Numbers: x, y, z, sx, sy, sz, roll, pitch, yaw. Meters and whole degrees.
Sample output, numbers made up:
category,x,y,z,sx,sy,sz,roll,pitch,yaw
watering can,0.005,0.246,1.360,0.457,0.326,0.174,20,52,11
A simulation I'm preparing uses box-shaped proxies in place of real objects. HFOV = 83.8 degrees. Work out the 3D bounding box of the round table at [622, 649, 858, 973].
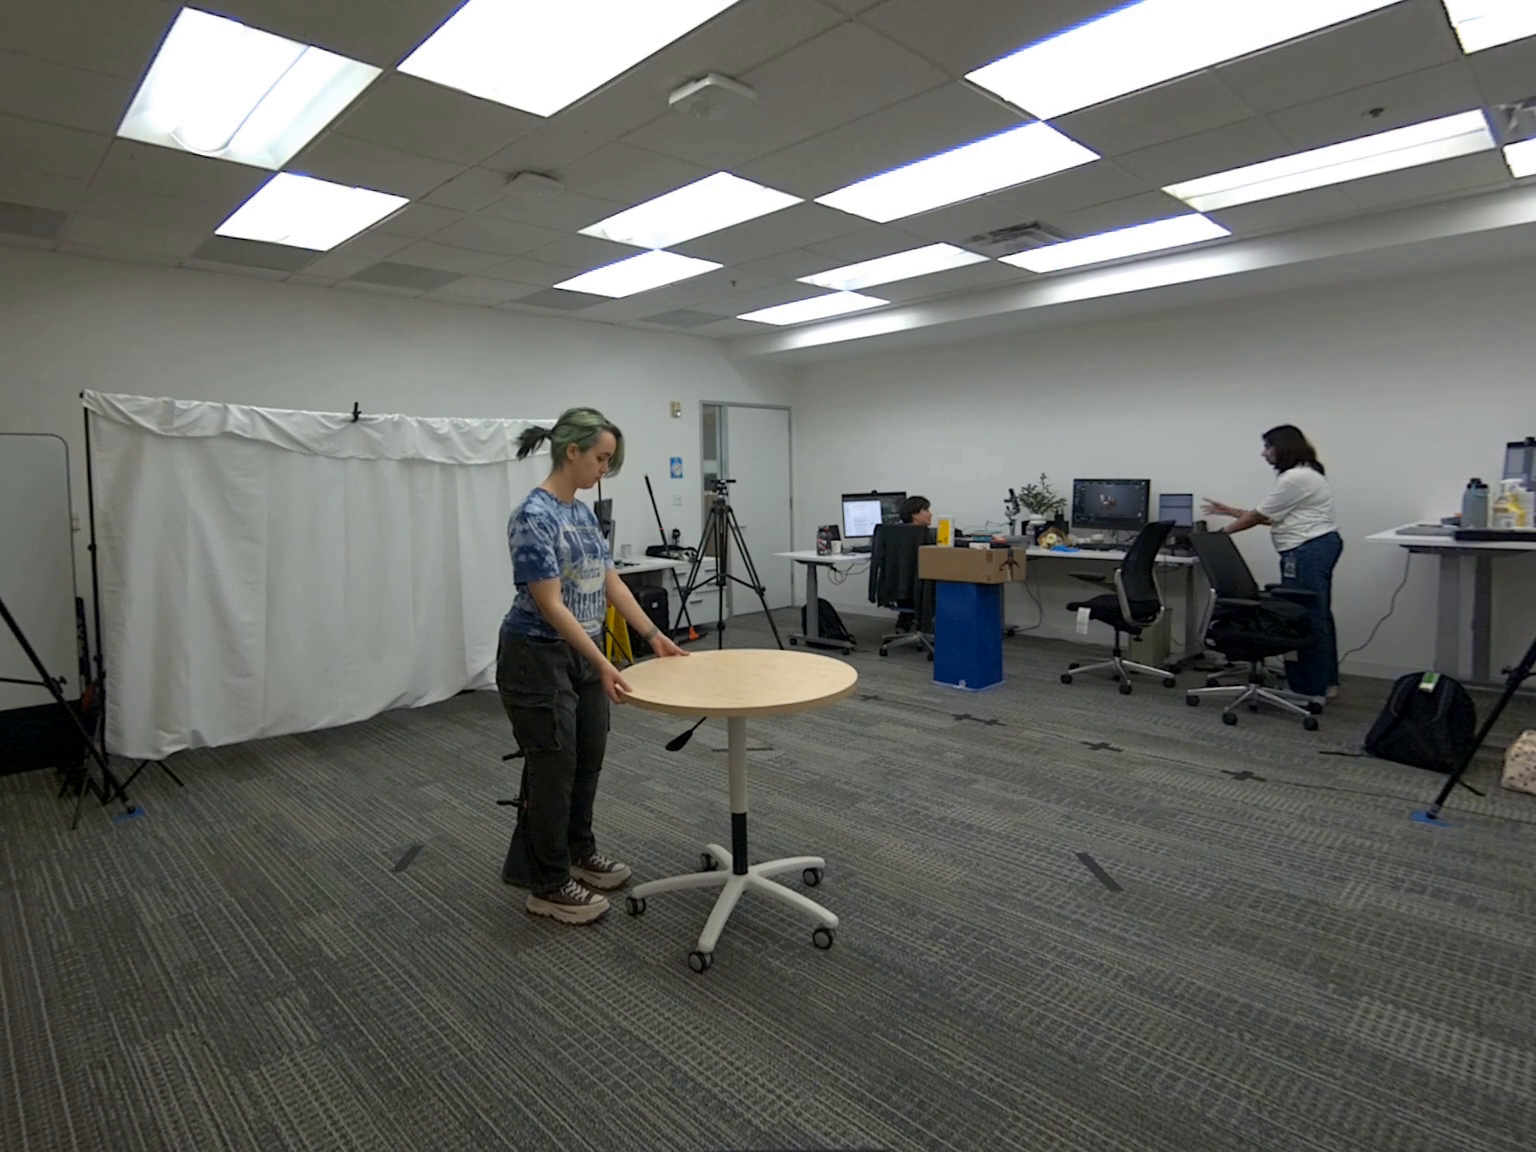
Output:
category,x,y,z,sx,sy,sz,roll,pitch,yaw
round table,-0.094,0.702,2.730,0.763,0.791,0.768,-2,5,-2
